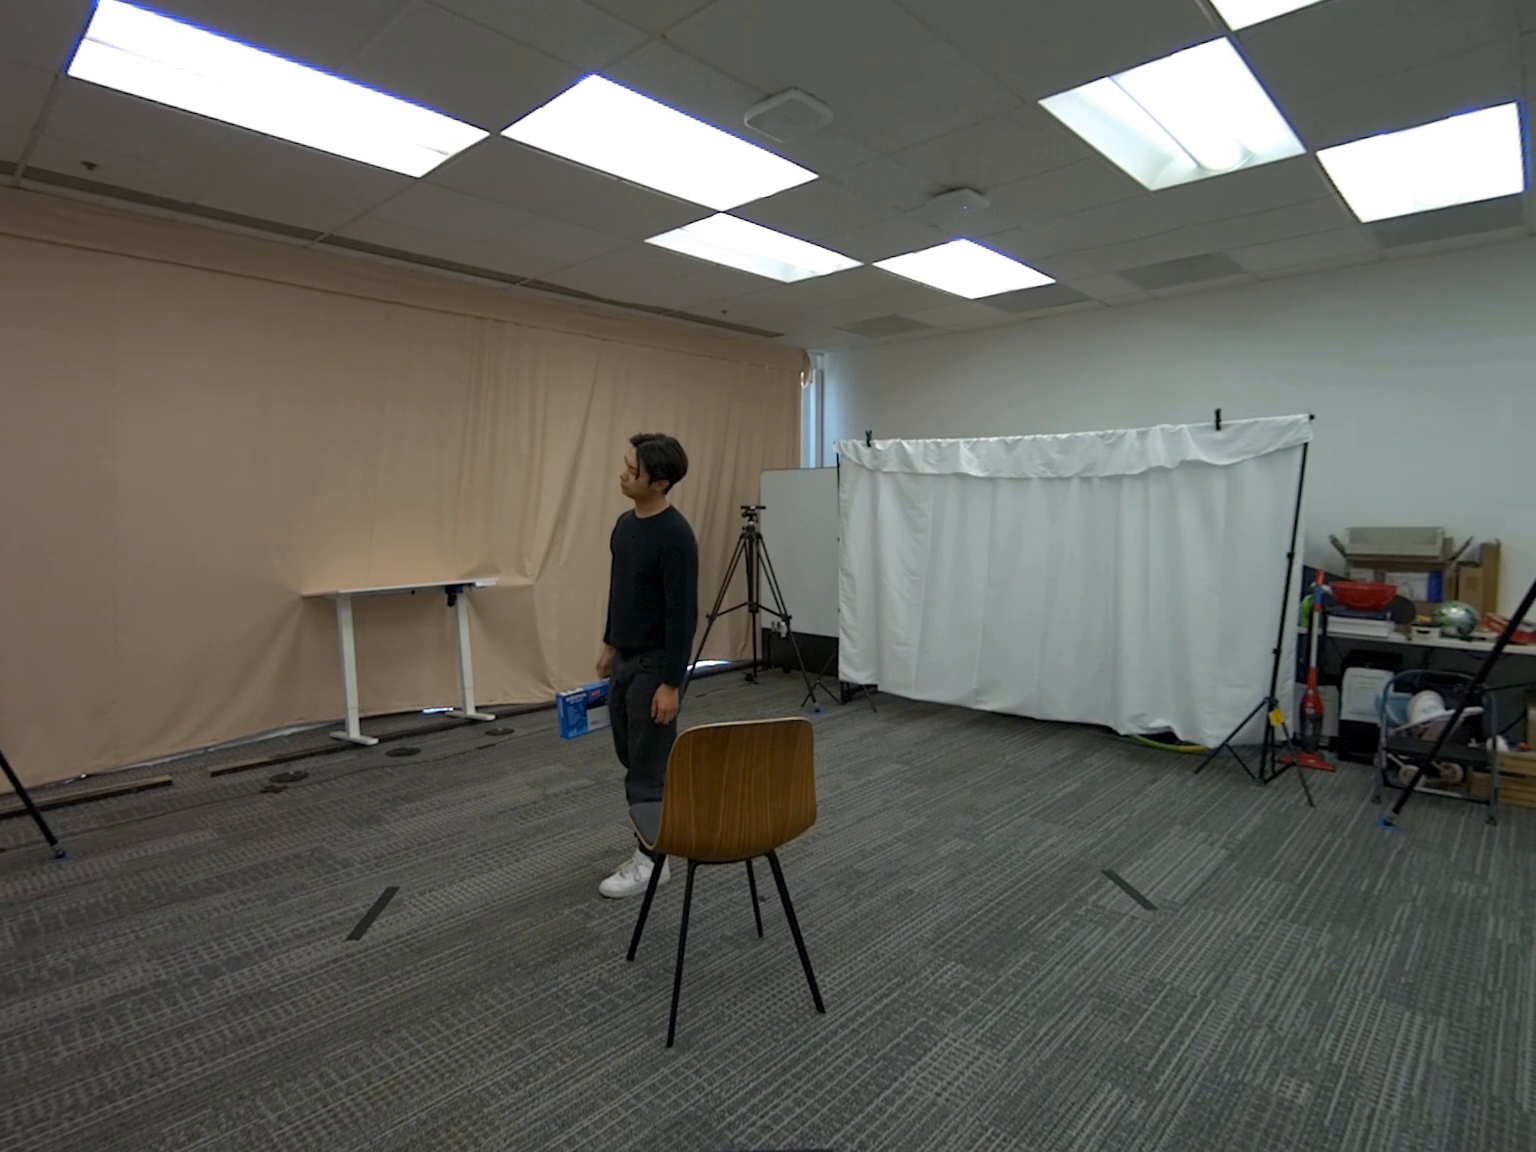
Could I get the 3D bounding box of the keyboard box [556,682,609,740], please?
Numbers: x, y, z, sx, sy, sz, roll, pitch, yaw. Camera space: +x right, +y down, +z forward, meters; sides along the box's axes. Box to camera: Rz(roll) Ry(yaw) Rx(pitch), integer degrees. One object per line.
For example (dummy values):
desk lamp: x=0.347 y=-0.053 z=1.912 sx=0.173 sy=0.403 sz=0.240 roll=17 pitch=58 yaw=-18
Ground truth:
keyboard box: x=-0.634 y=0.510 z=3.359 sx=0.425 sy=0.175 sz=0.061 roll=-11 pitch=9 yaw=-38
